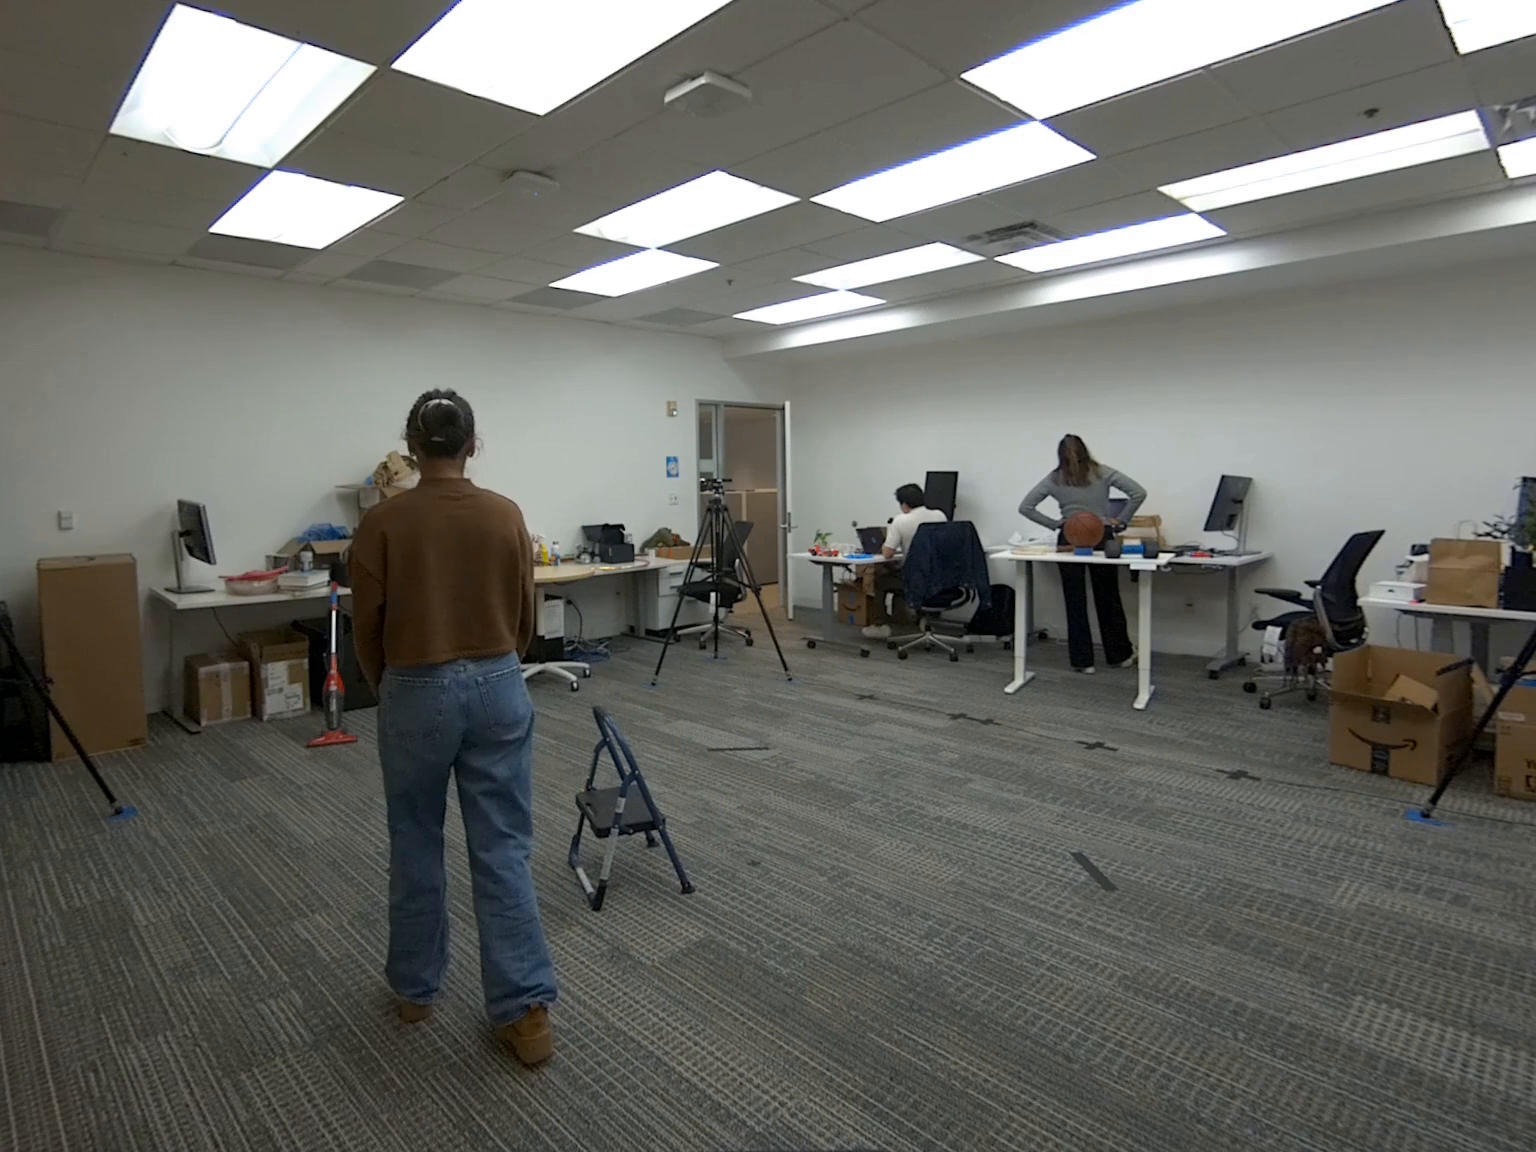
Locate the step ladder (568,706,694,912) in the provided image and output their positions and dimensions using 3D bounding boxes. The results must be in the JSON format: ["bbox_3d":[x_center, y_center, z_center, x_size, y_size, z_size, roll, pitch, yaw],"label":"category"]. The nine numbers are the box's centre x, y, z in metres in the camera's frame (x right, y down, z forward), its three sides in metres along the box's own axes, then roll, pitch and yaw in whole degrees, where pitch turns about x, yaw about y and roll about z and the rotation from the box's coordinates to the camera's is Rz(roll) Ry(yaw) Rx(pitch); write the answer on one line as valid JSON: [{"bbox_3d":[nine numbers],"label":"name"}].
[{"bbox_3d":[-0.496,0.760,3.011,0.342,0.604,0.441,-3,5,-25],"label":"step ladder"}]
